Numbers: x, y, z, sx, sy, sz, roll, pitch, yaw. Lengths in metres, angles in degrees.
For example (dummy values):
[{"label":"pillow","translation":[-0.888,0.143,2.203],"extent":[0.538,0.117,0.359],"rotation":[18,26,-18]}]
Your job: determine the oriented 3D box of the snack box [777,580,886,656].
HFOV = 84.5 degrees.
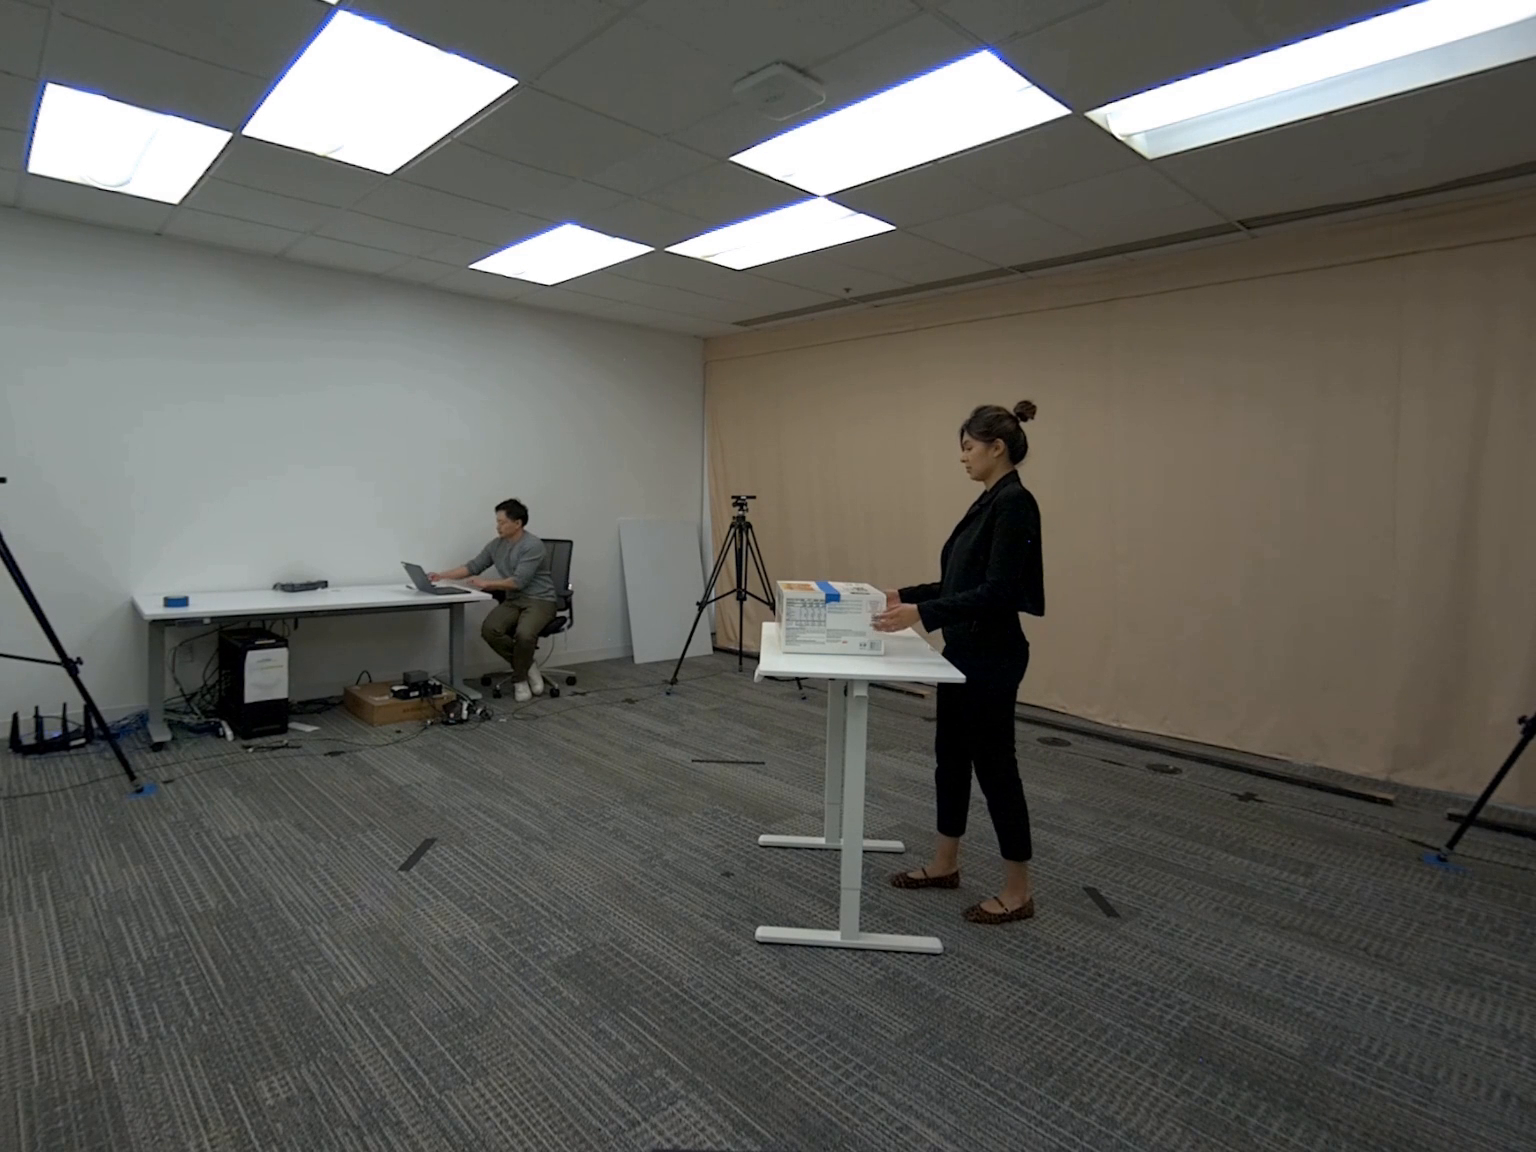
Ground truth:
[{"label":"snack box","translation":[0.200,0.141,2.955],"extent":[0.340,0.205,0.406],"rotation":[2,4,-1]}]
